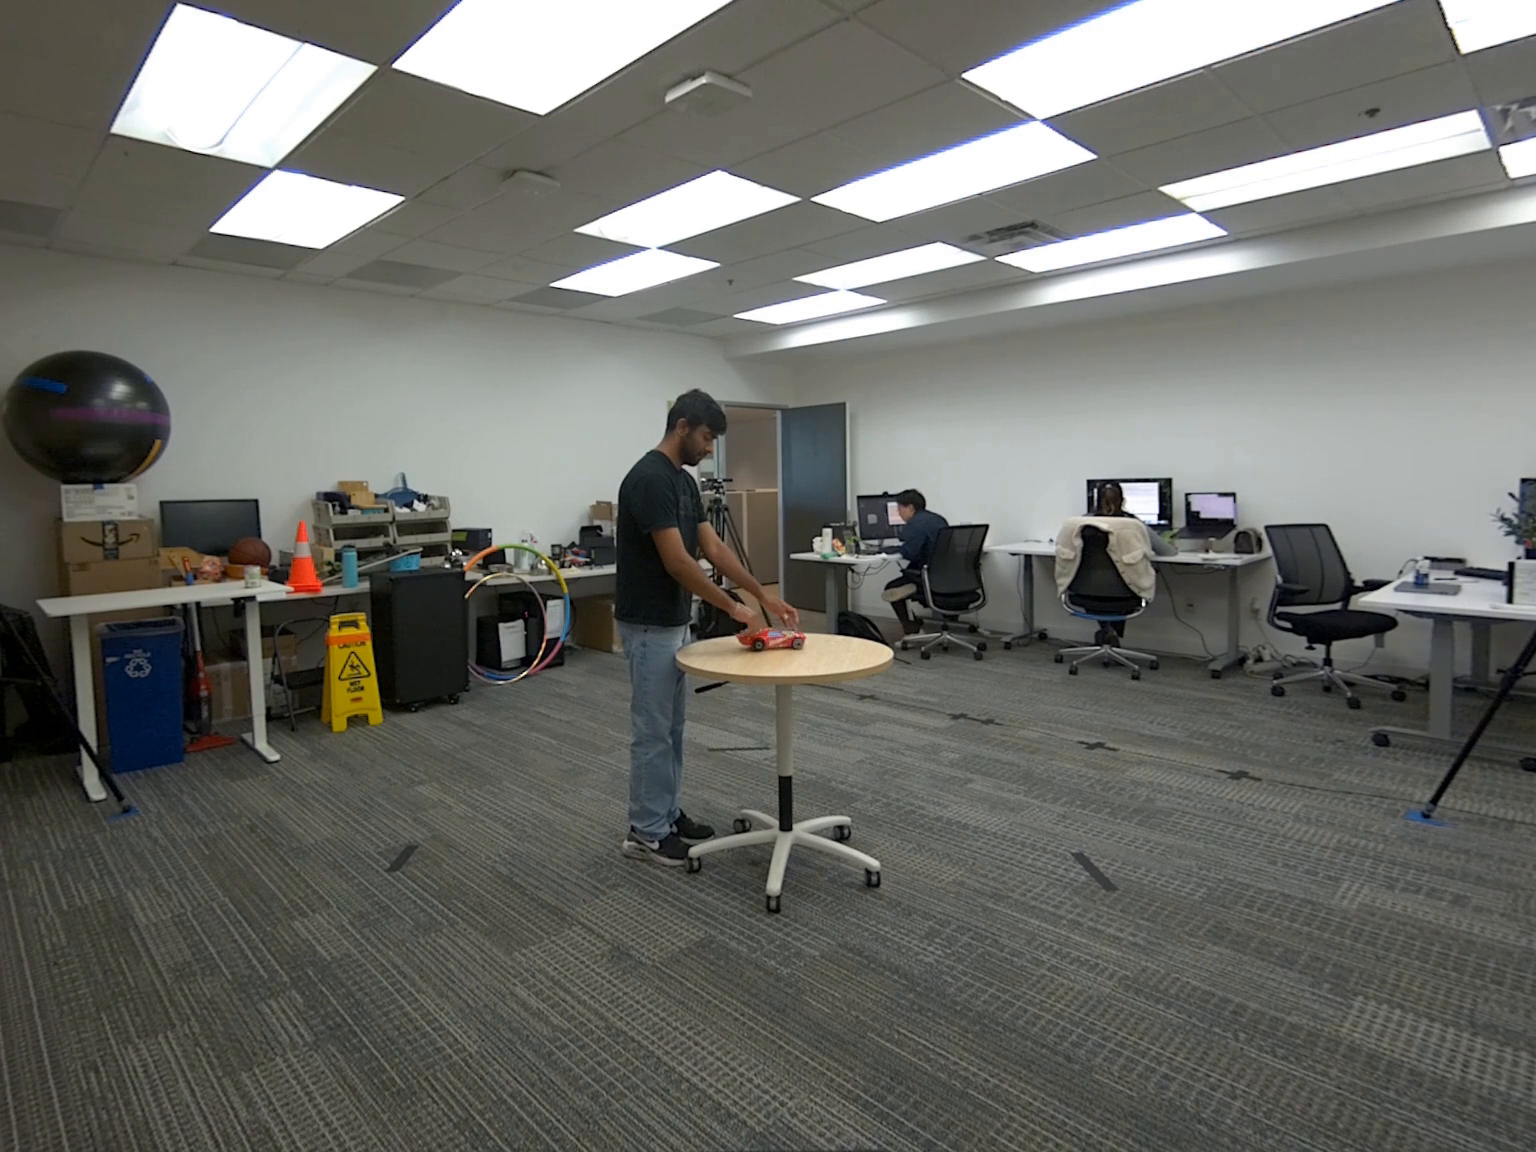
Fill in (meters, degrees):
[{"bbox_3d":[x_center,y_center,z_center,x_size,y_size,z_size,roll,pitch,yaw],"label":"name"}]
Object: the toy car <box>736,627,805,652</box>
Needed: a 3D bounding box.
[{"bbox_3d":[0.002,0.230,3.090,0.252,0.083,0.131,10,2,-8],"label":"toy car"}]
